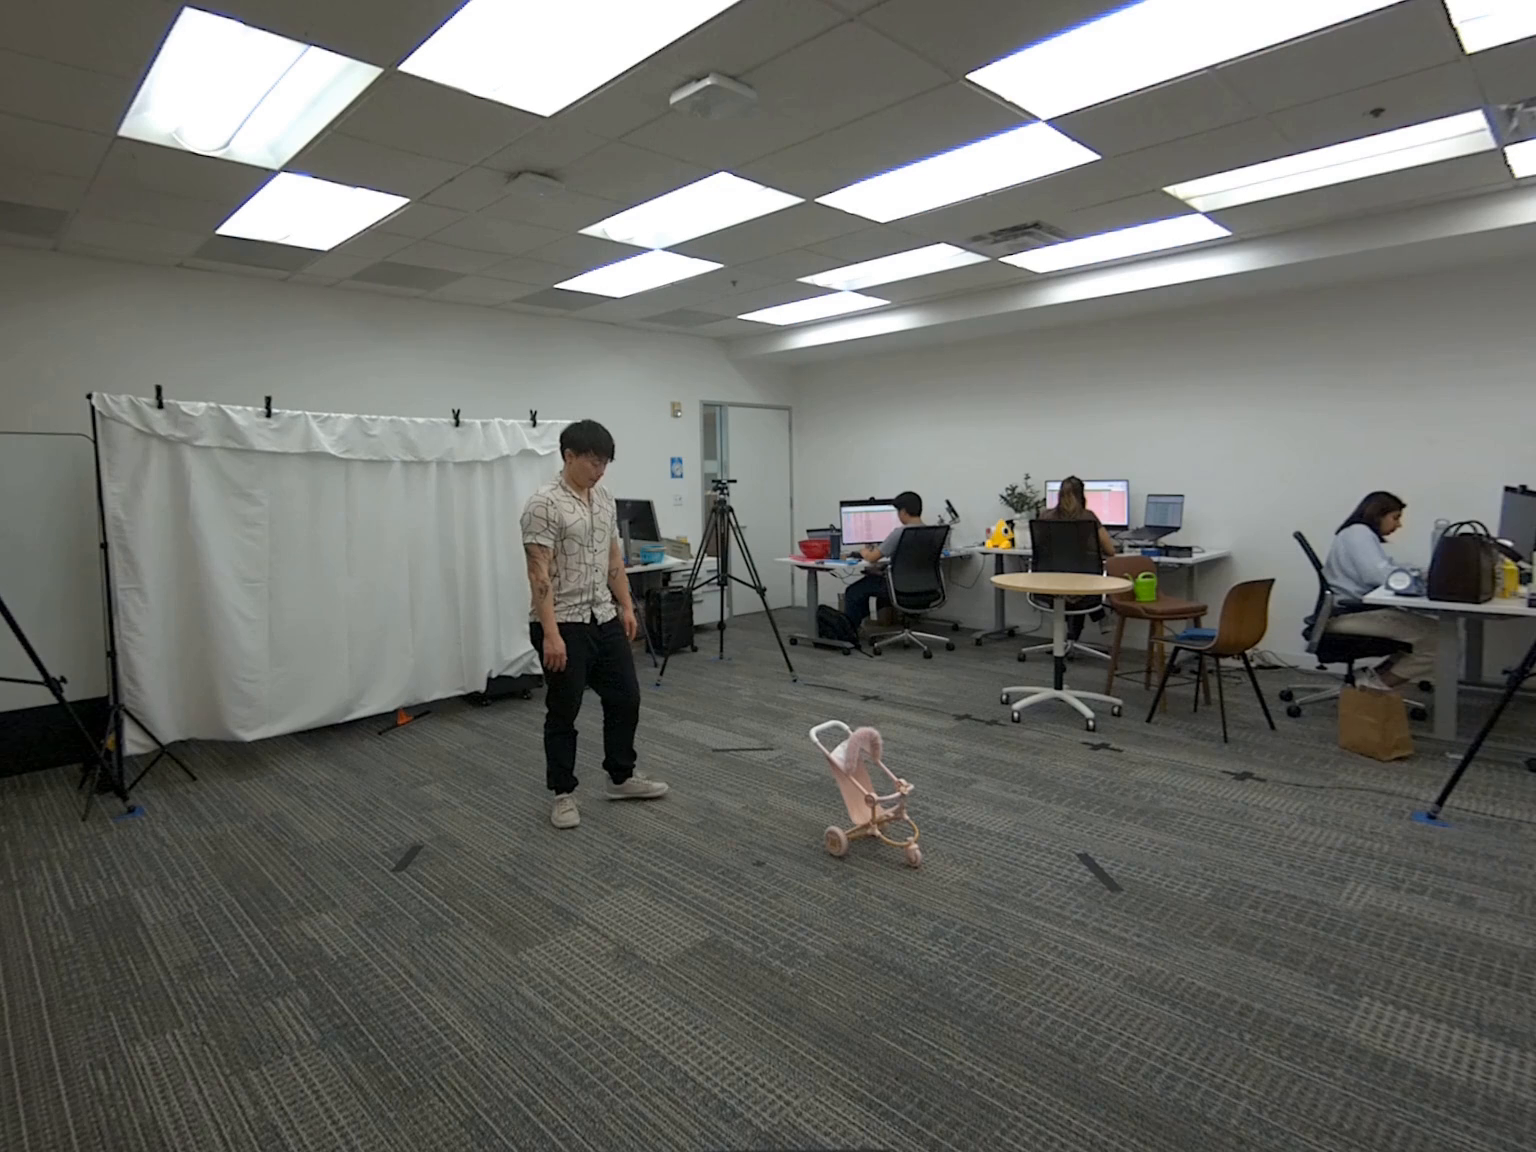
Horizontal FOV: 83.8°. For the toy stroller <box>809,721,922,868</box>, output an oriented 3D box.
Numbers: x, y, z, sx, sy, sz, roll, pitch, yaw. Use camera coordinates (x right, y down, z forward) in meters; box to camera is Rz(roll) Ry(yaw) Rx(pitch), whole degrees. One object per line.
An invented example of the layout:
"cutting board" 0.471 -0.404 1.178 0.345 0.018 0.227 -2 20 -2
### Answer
"toy stroller" 0.379 0.804 3.190 0.274 0.540 0.347 -5 -10 -41
